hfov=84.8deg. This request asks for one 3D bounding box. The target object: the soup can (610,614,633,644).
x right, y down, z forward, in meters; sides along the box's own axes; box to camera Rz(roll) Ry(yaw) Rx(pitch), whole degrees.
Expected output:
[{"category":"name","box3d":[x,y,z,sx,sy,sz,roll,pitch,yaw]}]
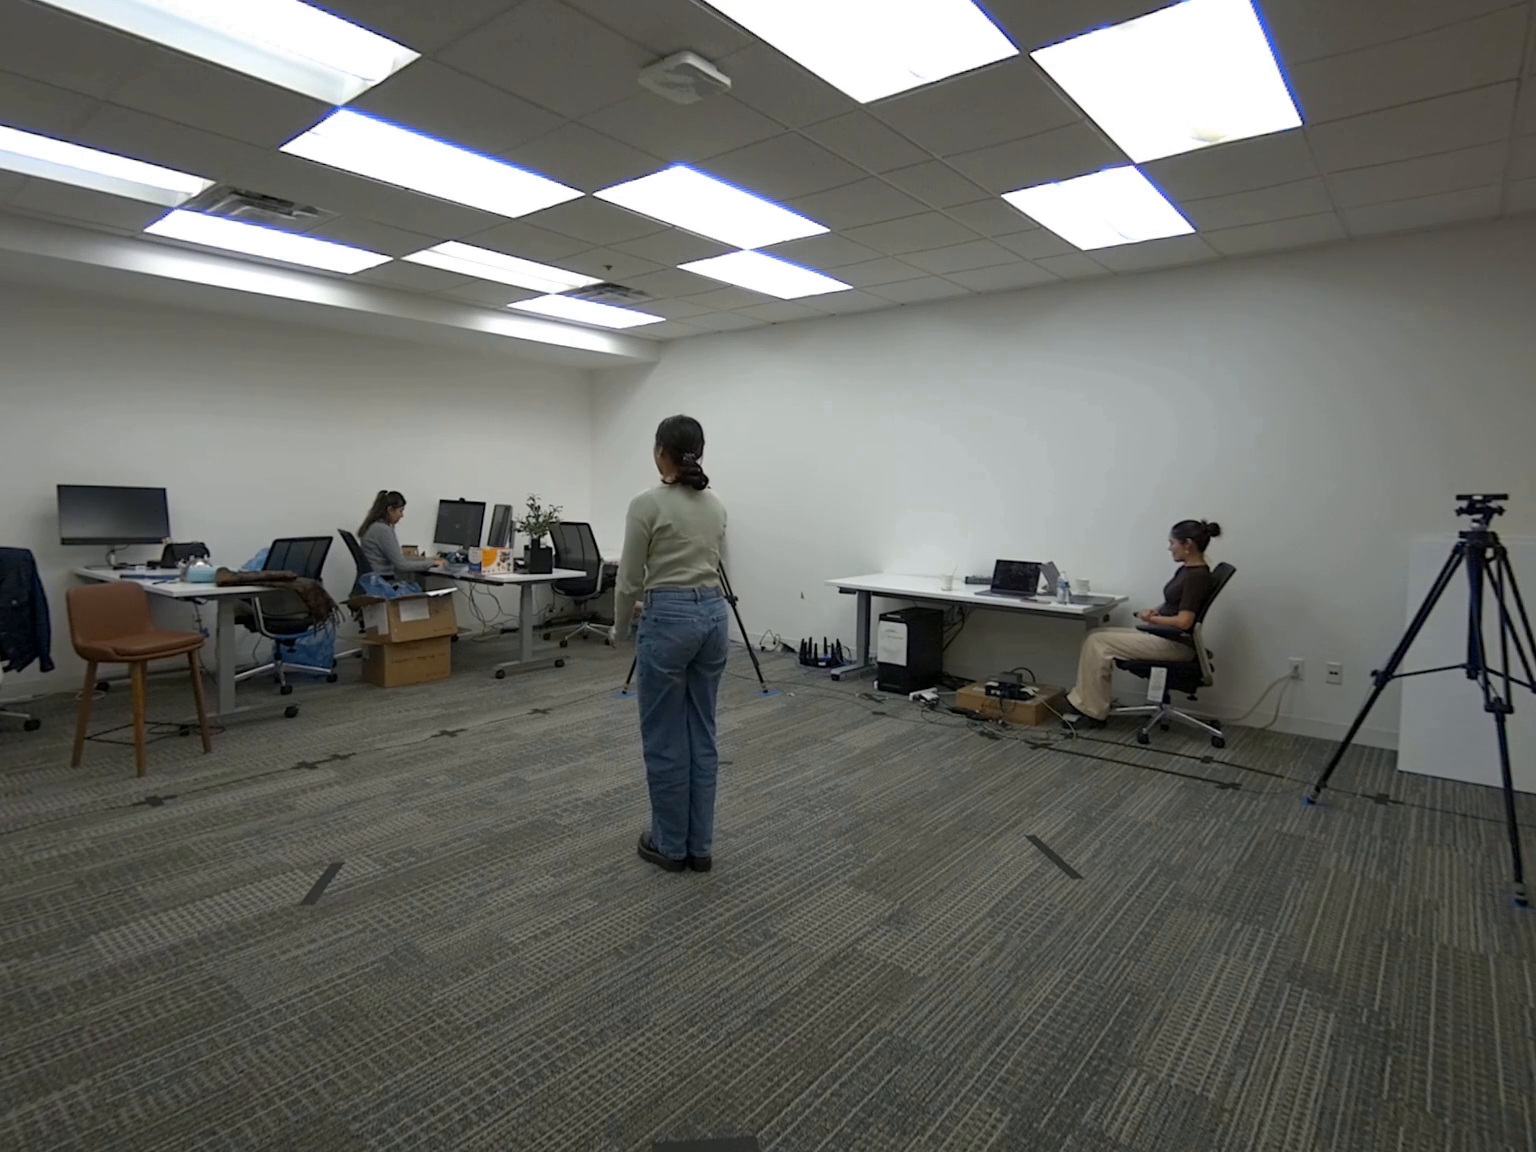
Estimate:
[{"category":"soup can","box3d":[-0.579,0.199,3.333,0.067,0.122,0.067,8,-3,-2]}]
